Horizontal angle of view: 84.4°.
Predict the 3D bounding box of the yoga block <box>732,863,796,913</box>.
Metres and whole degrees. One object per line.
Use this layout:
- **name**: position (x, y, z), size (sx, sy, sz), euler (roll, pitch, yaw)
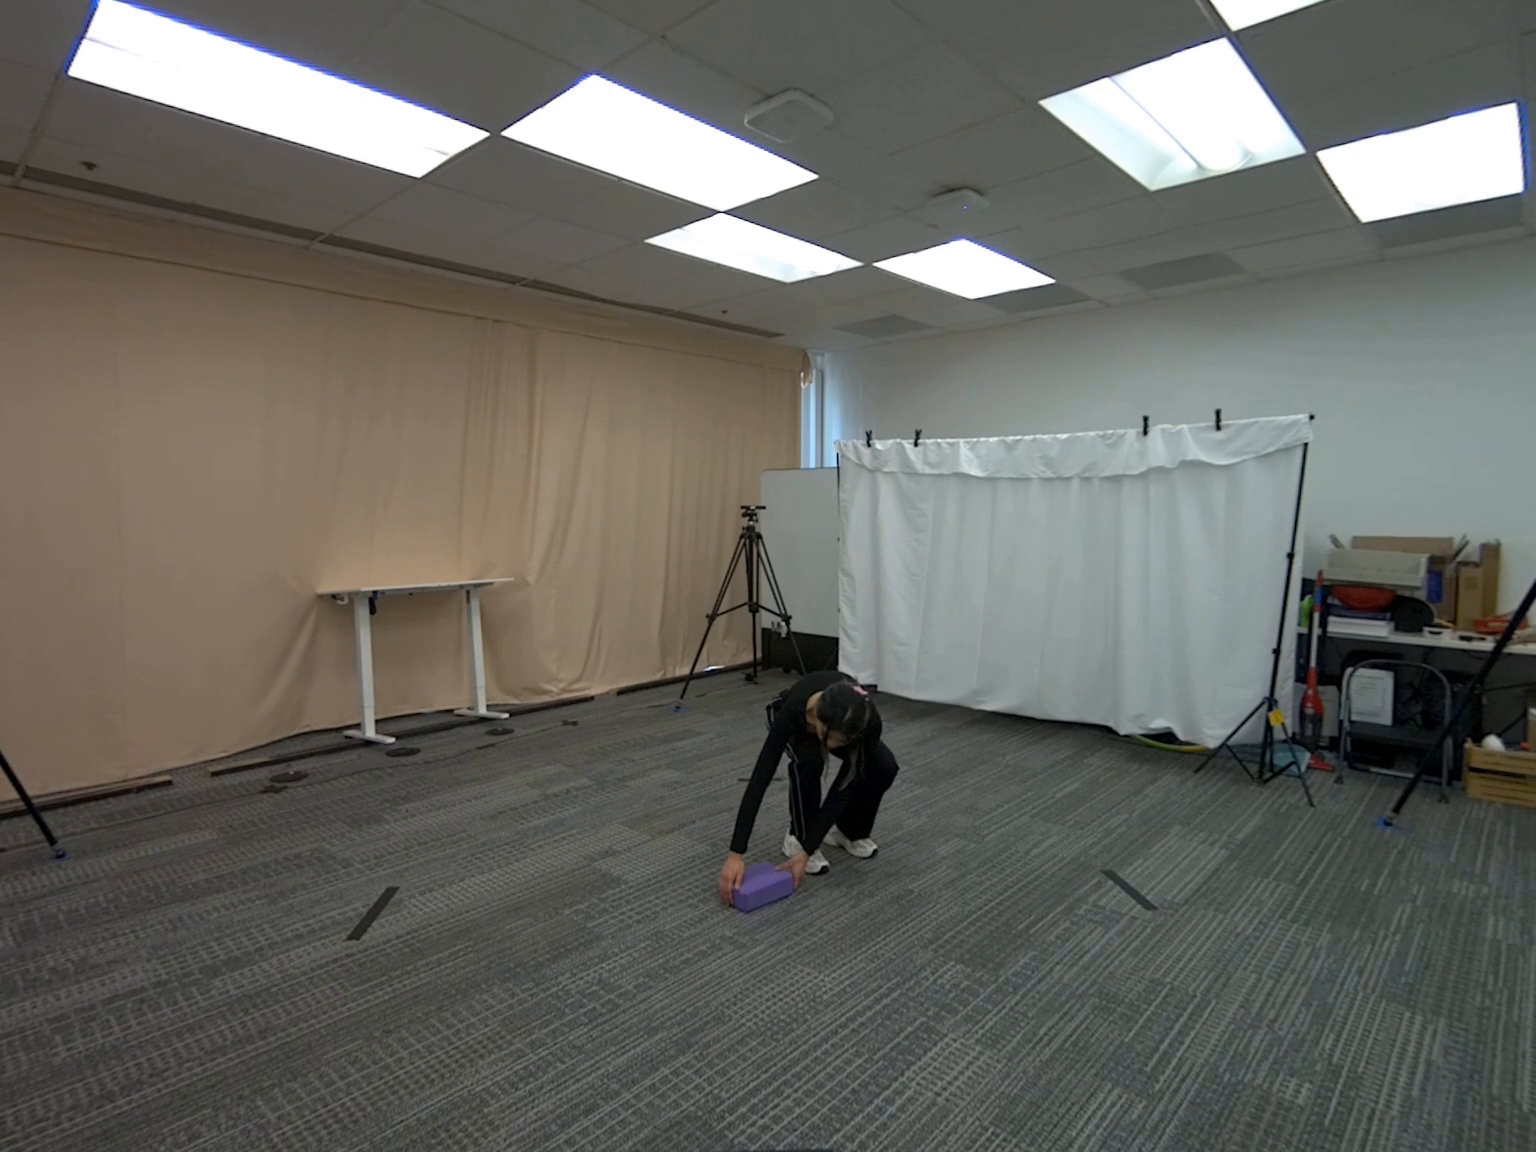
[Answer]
- **yoga block**: position (-0.039, 1.102, 2.990), size (0.222, 0.076, 0.154), euler (-7, 8, -40)
